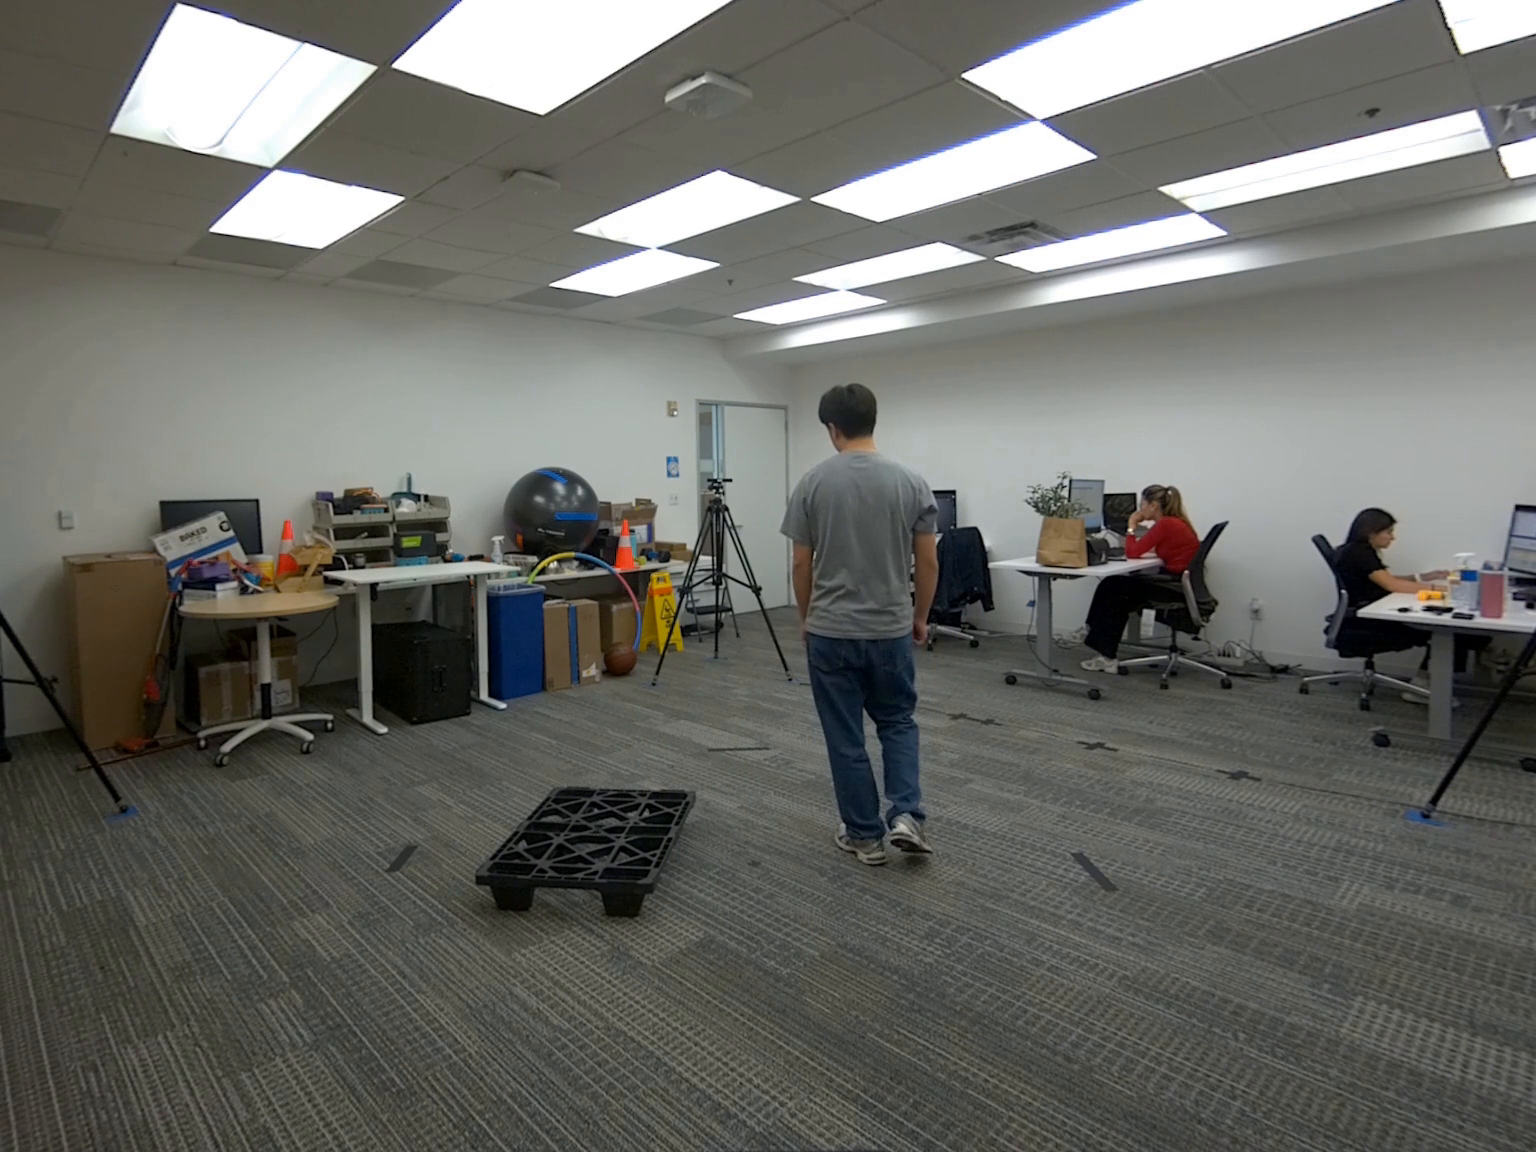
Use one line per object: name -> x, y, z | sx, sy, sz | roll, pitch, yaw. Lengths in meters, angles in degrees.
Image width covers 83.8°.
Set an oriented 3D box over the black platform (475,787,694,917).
black platform -> -0.615, 0.982, 3.126 | 0.609, 0.142, 0.804 | 0, 7, 6
